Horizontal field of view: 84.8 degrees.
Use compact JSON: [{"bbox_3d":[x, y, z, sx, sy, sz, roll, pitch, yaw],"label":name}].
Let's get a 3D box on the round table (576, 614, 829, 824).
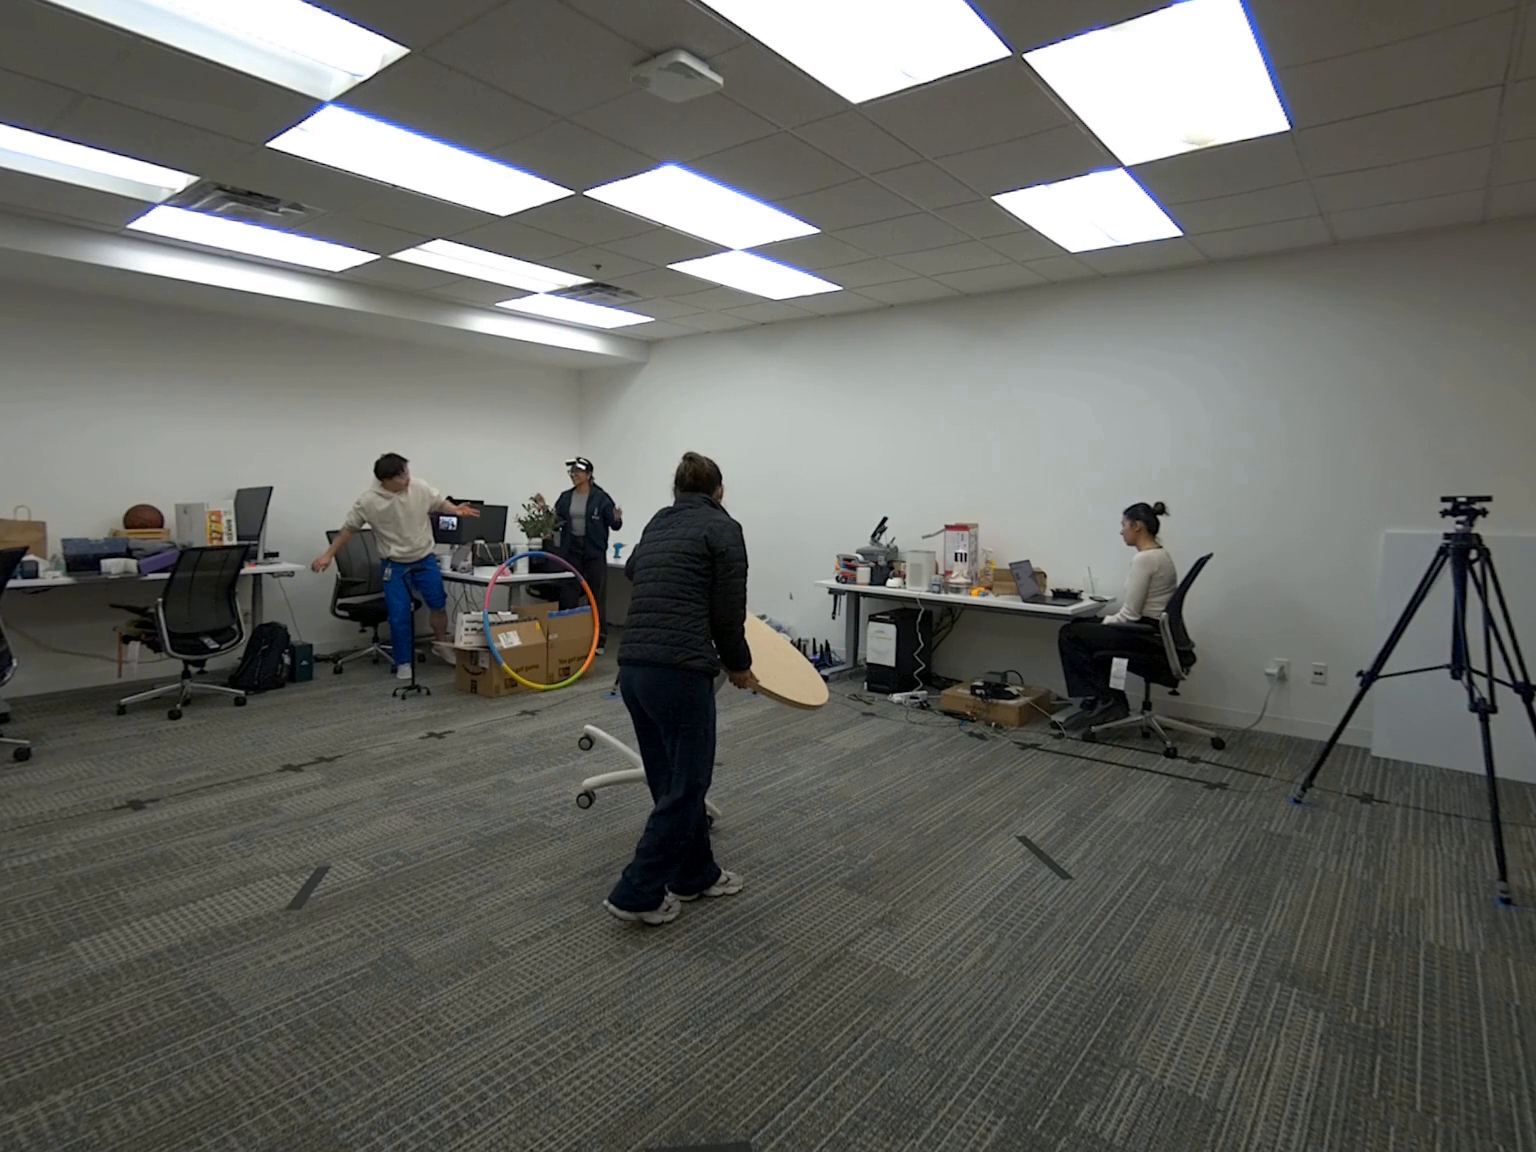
[{"bbox_3d":[-0.279,0.554,3.348,0.776,0.784,0.797,31,12,-9],"label":"round table"}]
